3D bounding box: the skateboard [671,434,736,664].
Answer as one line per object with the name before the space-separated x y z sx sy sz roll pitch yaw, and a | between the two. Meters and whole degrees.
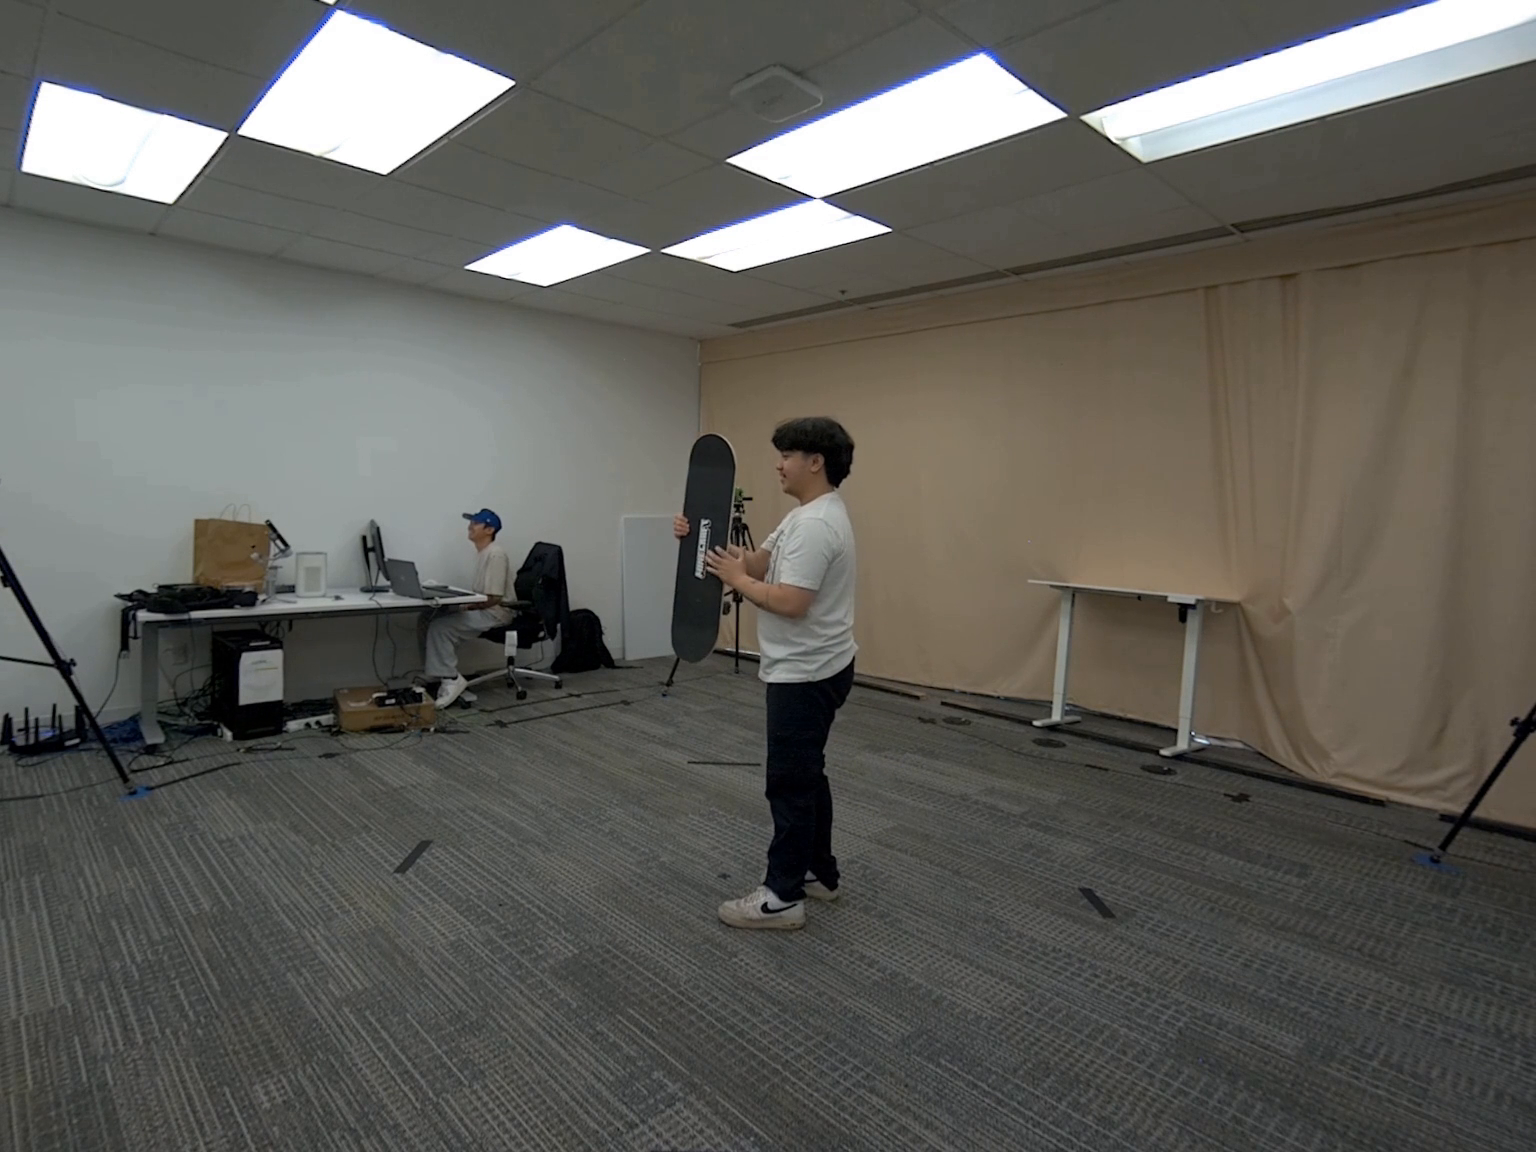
skateboard | -0.213 -0.093 2.928 0.198 0.784 0.108 7 2 28
